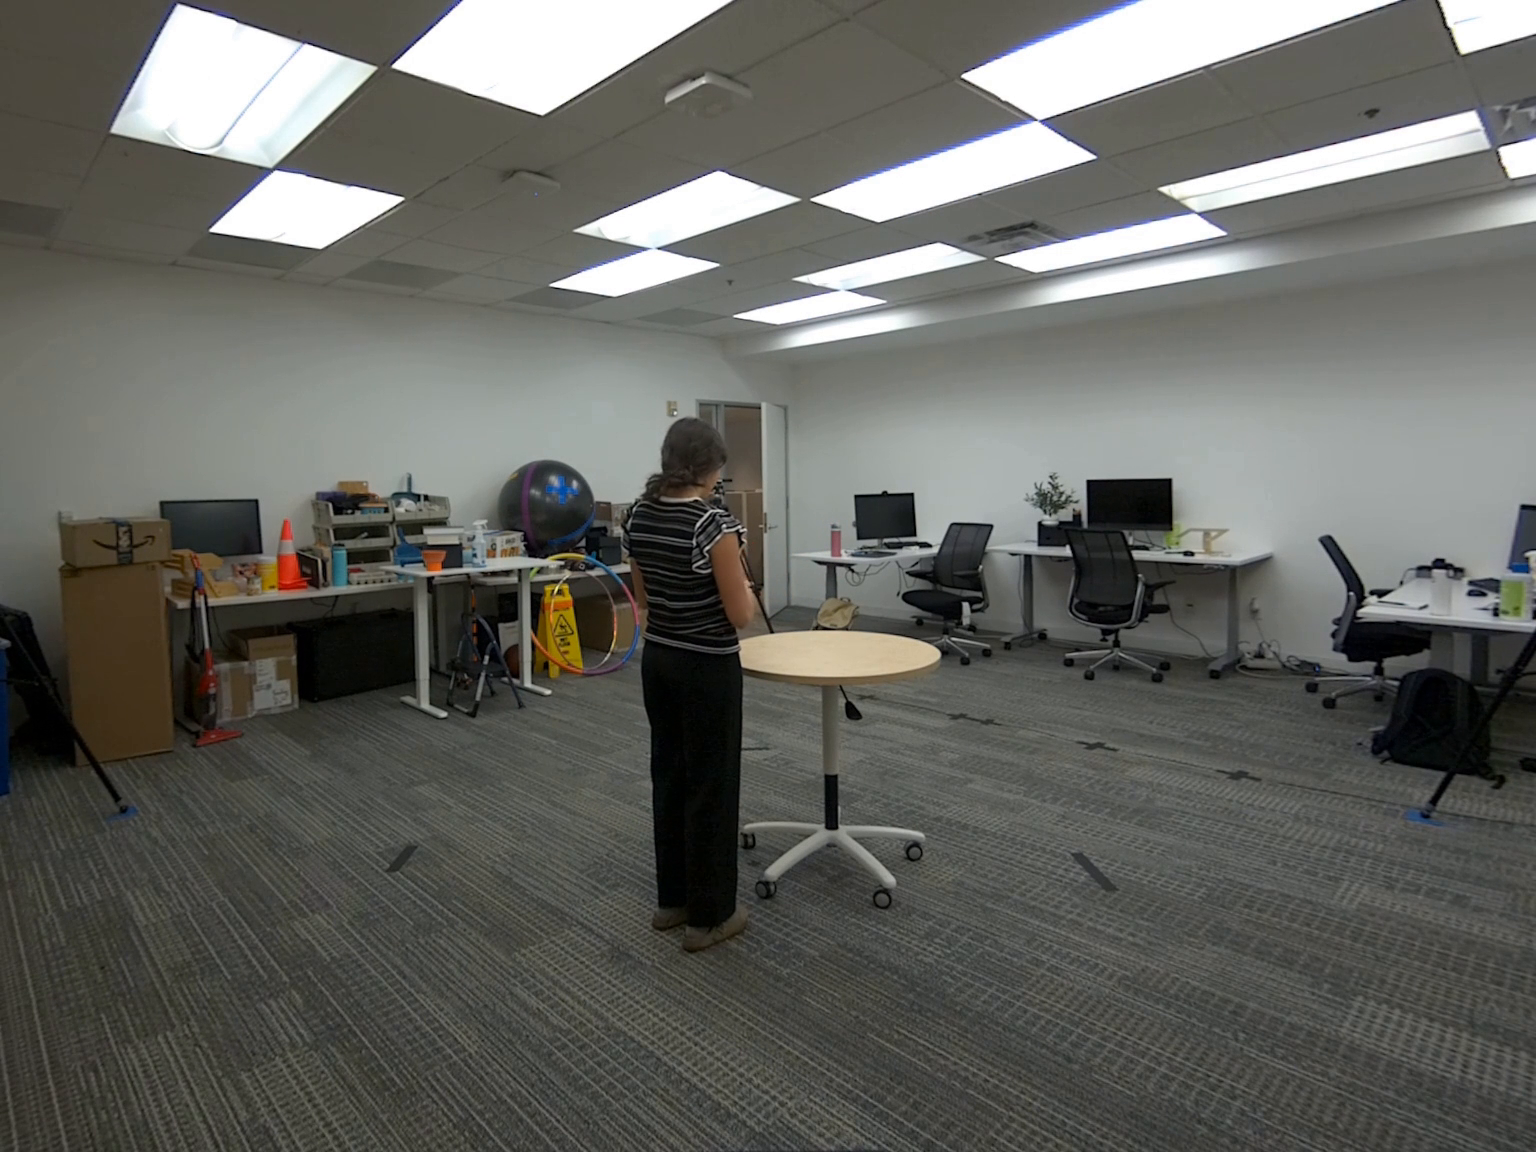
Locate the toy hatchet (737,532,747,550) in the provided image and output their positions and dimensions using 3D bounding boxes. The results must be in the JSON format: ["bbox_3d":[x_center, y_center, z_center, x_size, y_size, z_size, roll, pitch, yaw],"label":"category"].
[{"bbox_3d":[-0.122,-0.071,2.974,0.129,0.029,0.278,5,43,-14],"label":"toy hatchet"}]
